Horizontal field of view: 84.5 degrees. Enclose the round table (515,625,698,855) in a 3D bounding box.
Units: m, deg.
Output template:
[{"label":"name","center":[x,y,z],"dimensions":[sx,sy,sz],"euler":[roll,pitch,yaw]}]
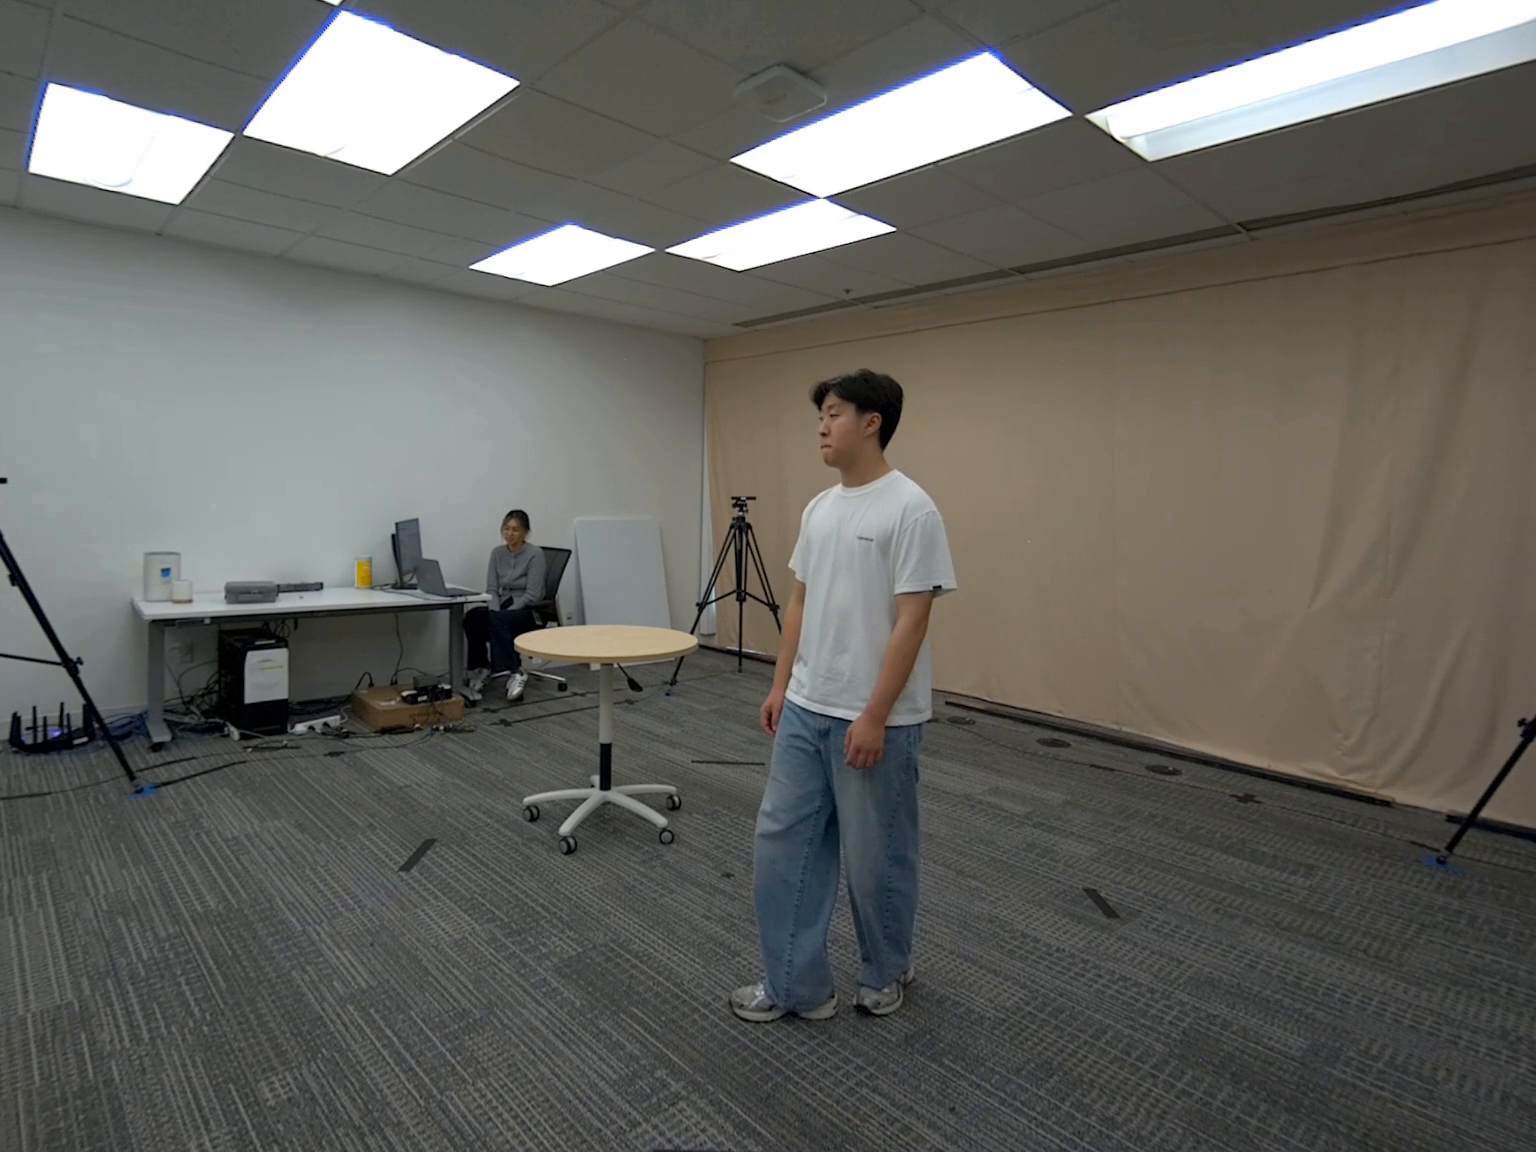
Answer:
[{"label":"round table","center":[-0.696,0.664,3.569],"dimensions":[0.763,0.792,0.766],"euler":[1,4,-1]}]
